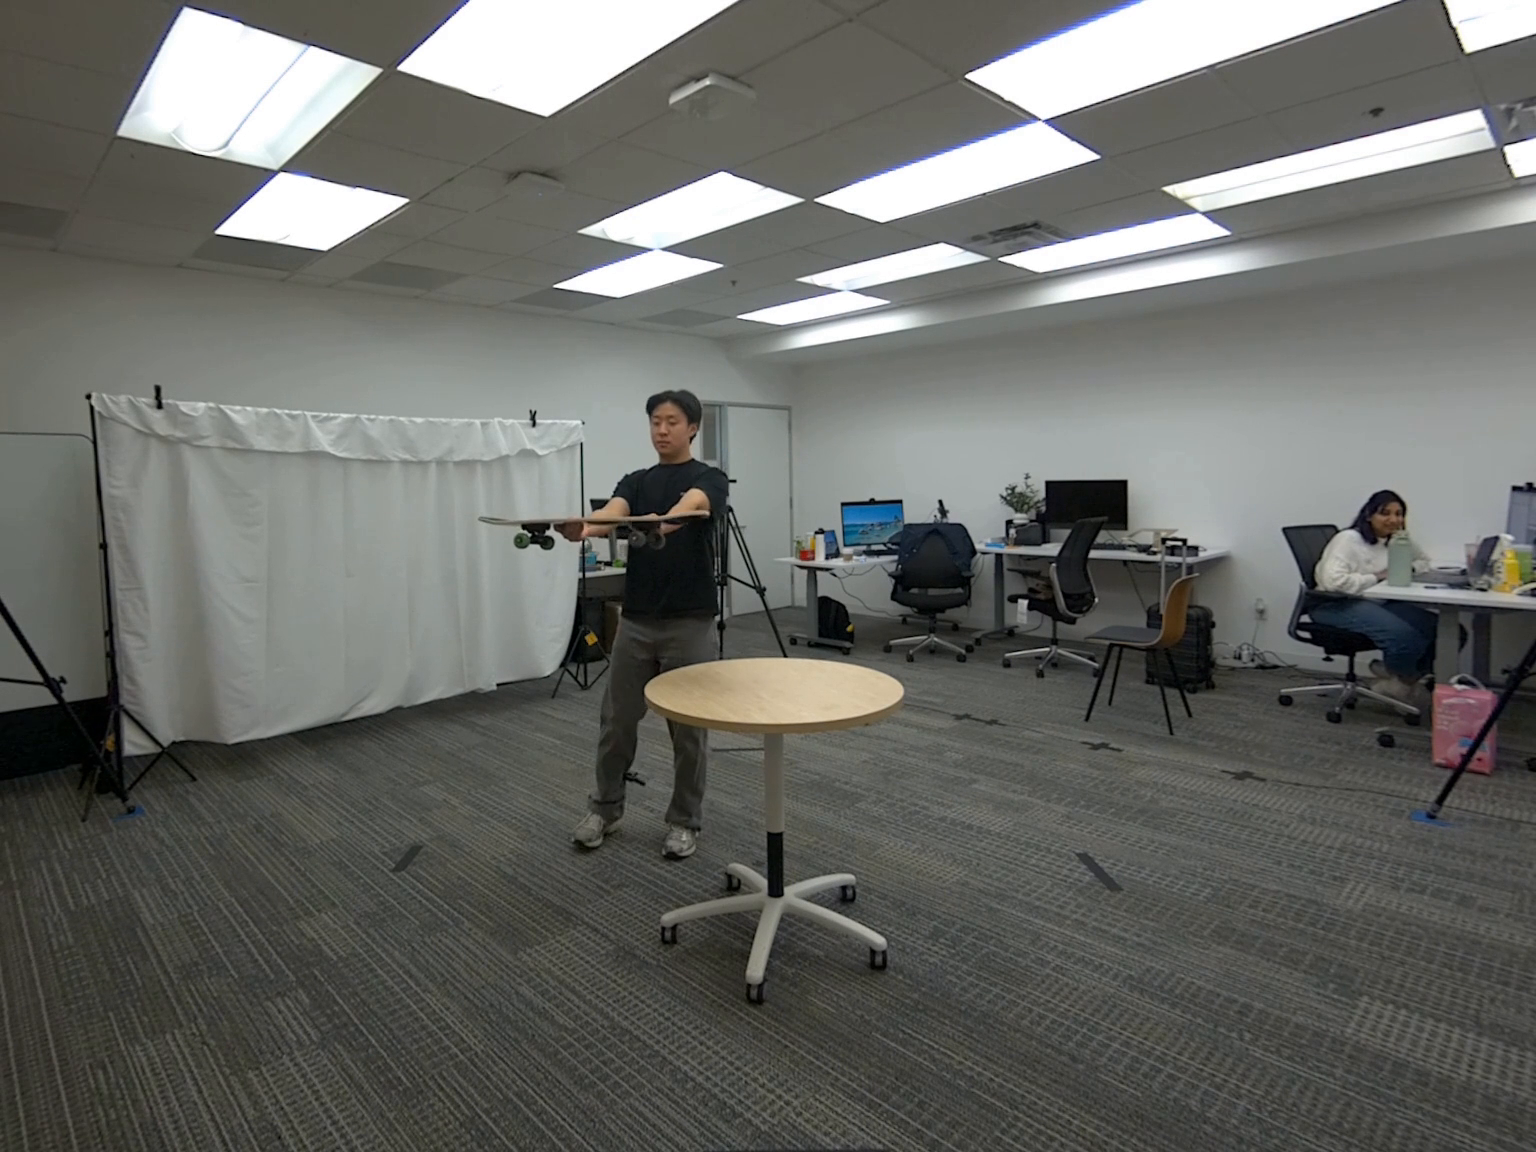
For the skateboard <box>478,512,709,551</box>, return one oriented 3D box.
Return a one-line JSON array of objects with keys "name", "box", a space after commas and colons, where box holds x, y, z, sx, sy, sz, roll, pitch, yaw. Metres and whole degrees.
[{"name": "skateboard", "box": [-0.554, -0.138, 2.698, 0.799, 0.110, 0.190, 1, -1, 19]}]
